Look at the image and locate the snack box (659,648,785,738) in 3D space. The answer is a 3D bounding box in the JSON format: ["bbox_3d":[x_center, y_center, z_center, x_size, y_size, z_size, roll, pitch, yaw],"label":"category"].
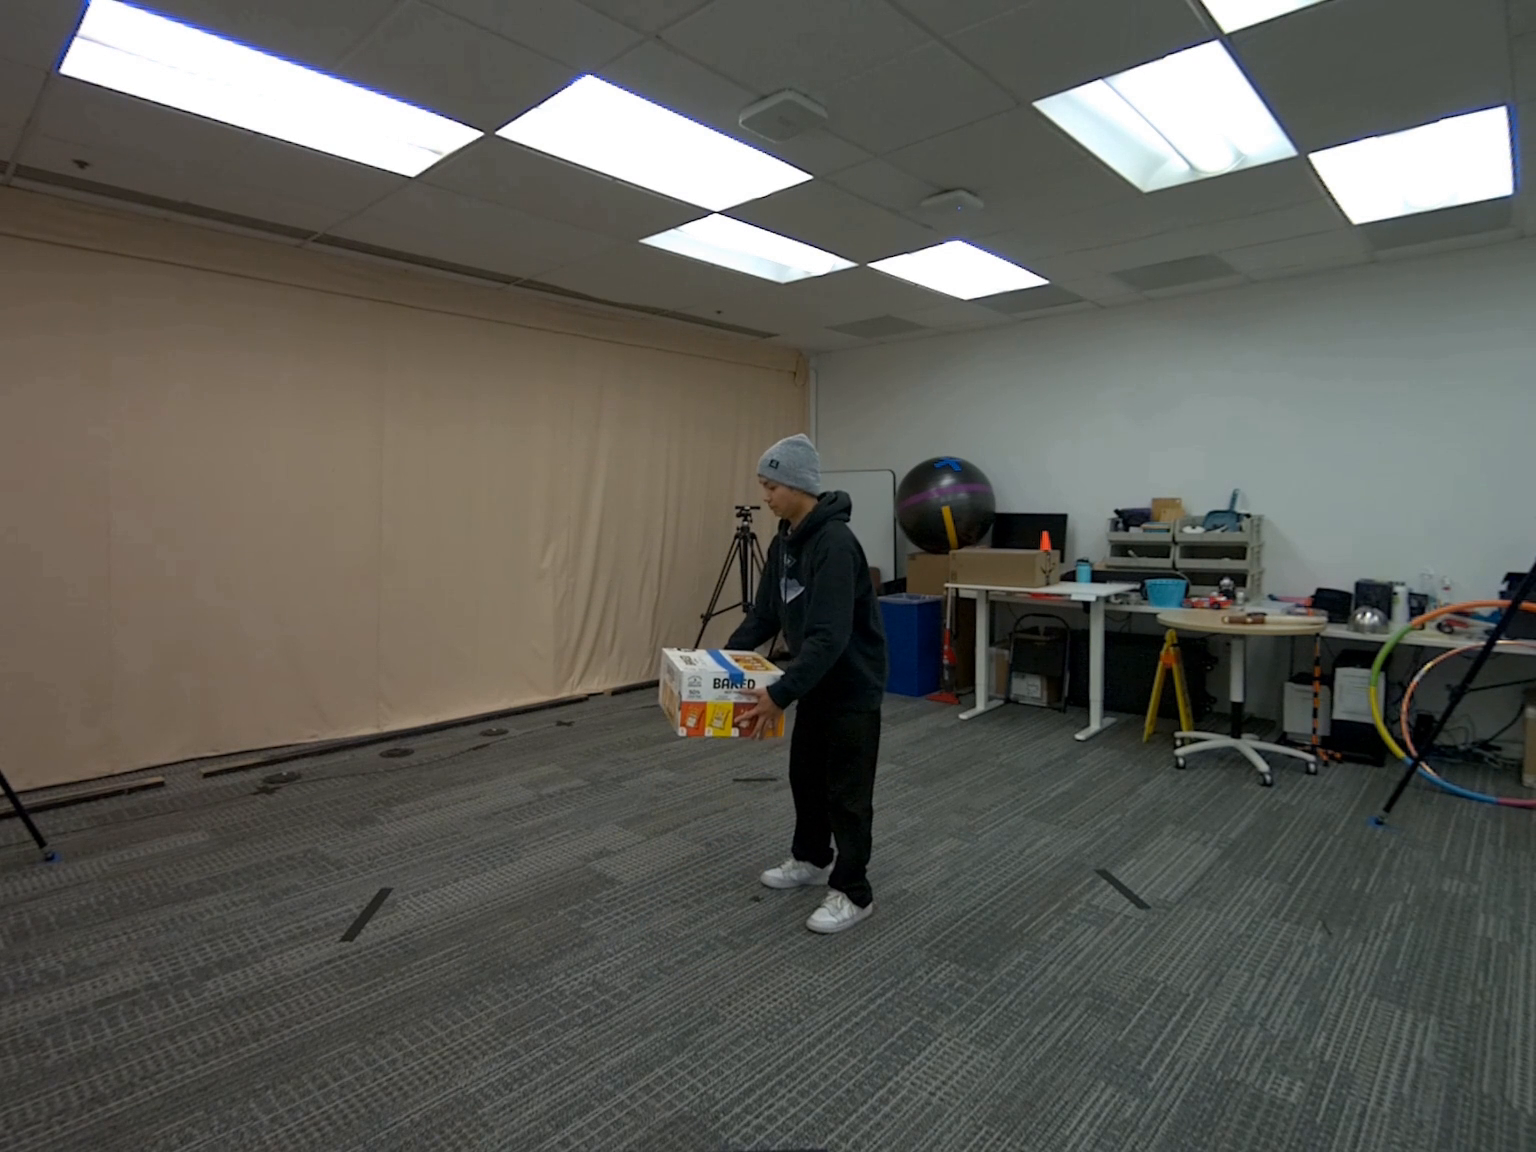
[{"bbox_3d":[-0.161,0.387,2.808,0.335,0.205,0.412,4,3,-15],"label":"snack box"}]
